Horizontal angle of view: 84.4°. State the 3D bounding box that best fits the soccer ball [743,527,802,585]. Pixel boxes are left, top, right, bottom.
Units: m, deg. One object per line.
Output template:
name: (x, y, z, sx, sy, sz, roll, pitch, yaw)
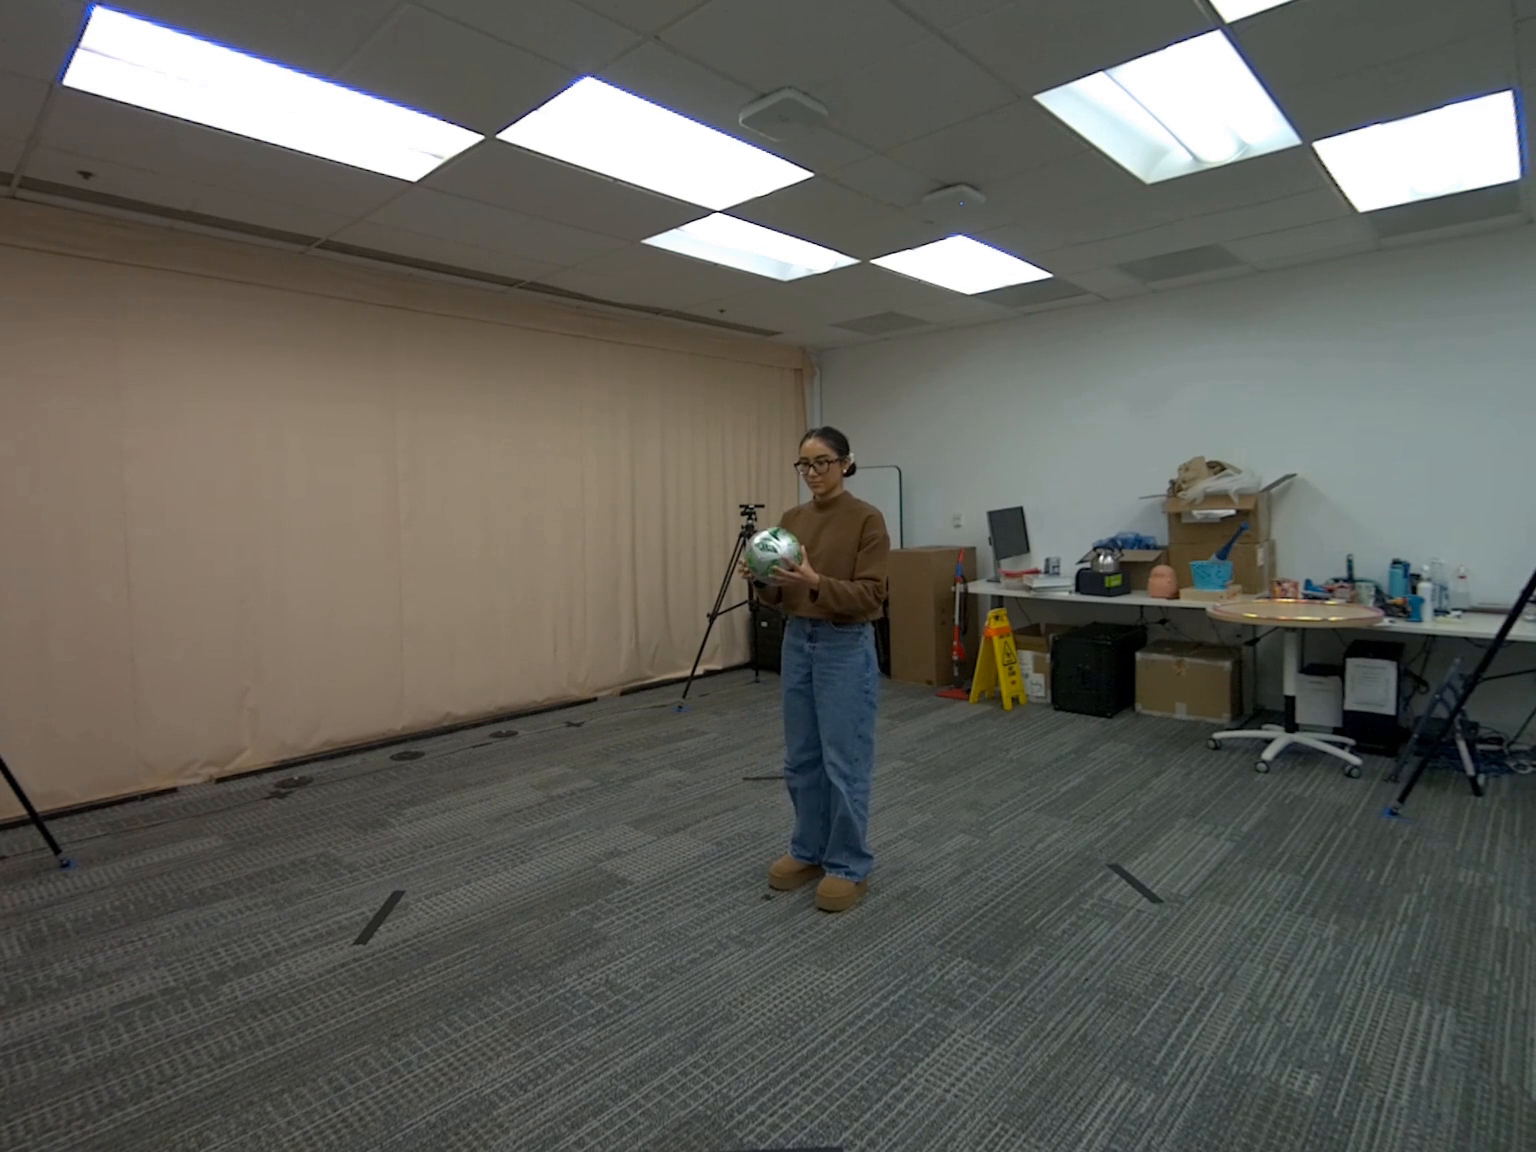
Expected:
soccer ball: (0.021, -0.064, 2.721, 0.187, 0.187, 0.188, -1, 4, -2)
